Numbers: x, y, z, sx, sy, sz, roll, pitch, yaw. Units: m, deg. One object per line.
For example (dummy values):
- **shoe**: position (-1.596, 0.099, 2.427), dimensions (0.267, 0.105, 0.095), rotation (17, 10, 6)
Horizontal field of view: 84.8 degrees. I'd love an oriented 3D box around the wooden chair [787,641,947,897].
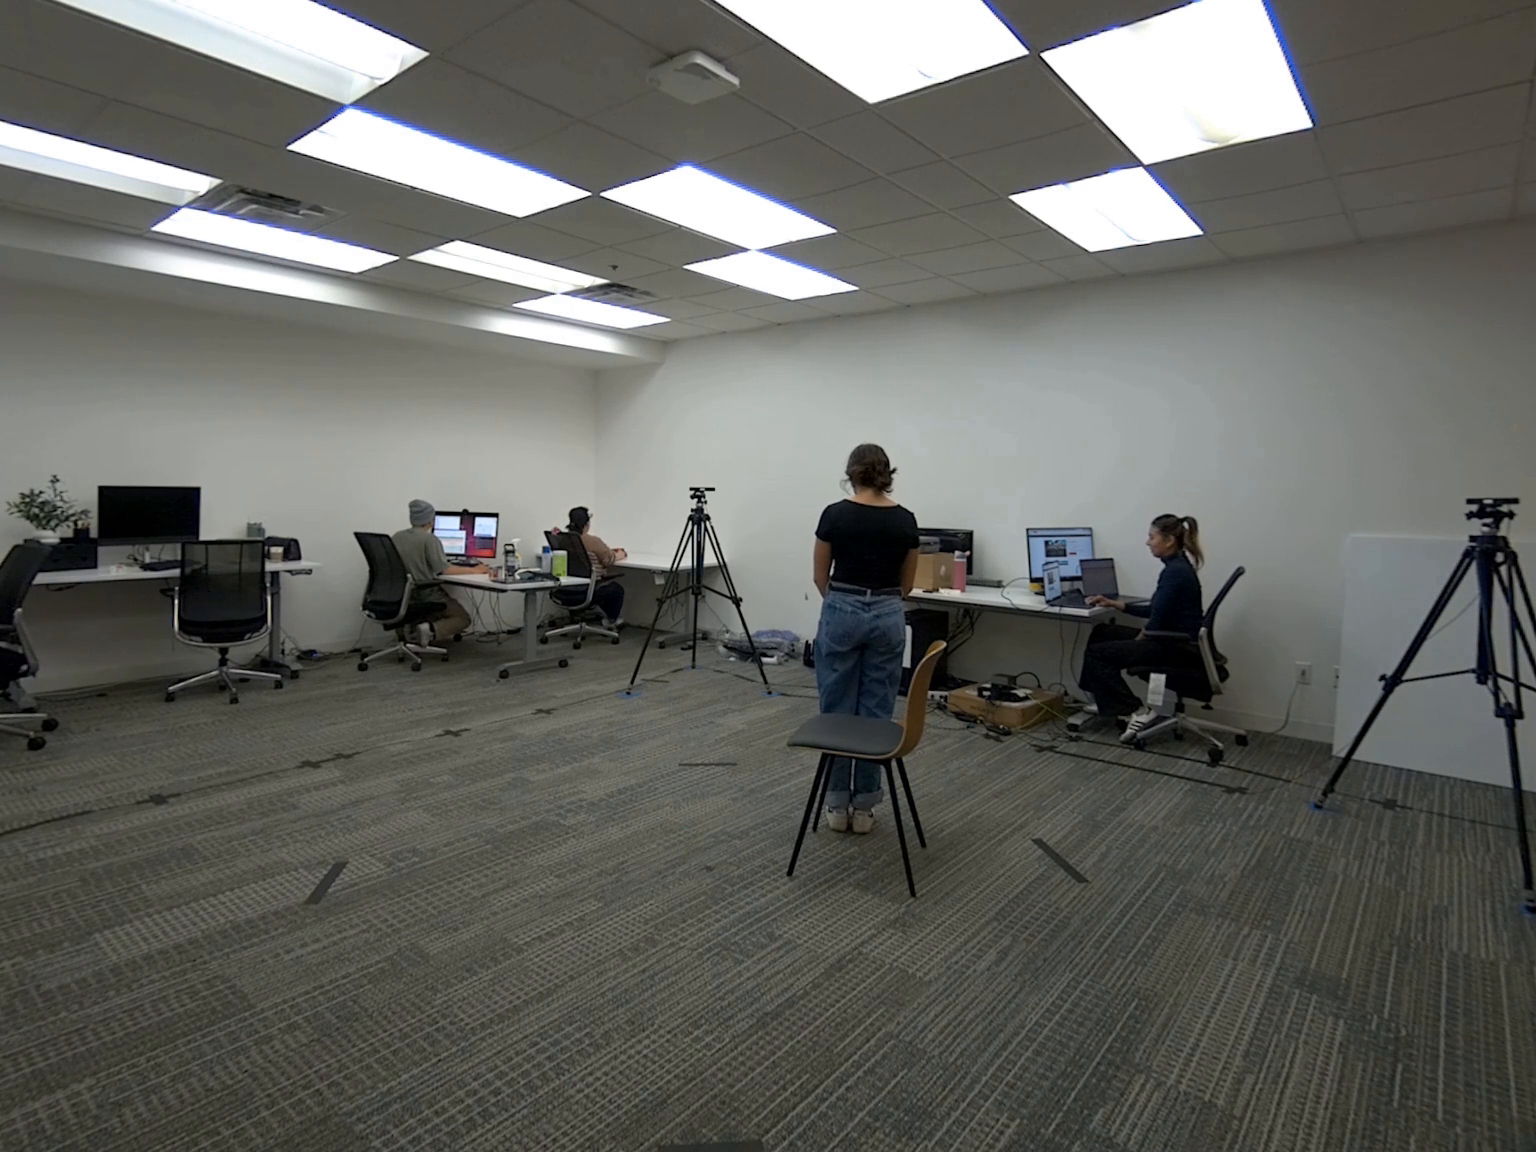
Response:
- **wooden chair**: position (0.341, 0.644, 3.174), dimensions (0.534, 0.874, 0.470), rotation (7, 5, 17)
